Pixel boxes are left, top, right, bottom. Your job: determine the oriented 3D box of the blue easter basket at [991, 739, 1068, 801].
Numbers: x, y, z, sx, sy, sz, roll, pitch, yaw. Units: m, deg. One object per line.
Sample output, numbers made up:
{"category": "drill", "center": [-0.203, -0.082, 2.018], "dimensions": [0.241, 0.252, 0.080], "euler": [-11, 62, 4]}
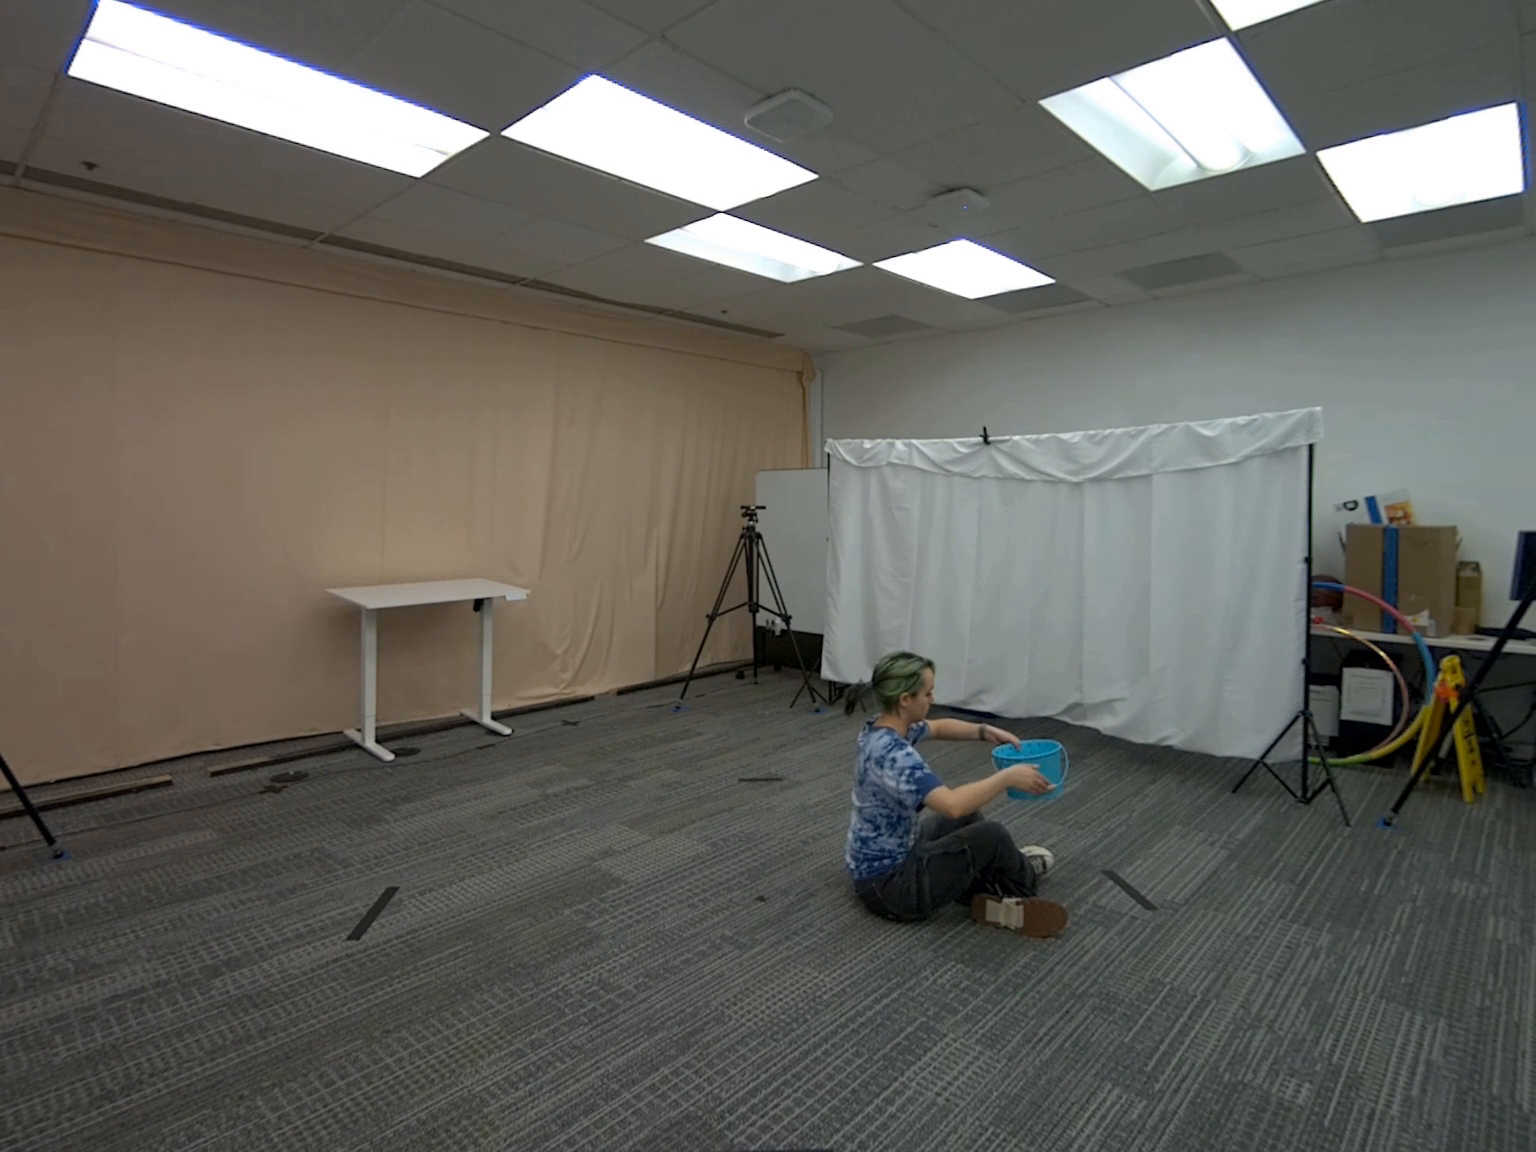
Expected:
{"category": "blue easter basket", "center": [0.908, 0.674, 2.894], "dimensions": [0.243, 0.156, 0.243], "euler": [-8, -2, -2]}
